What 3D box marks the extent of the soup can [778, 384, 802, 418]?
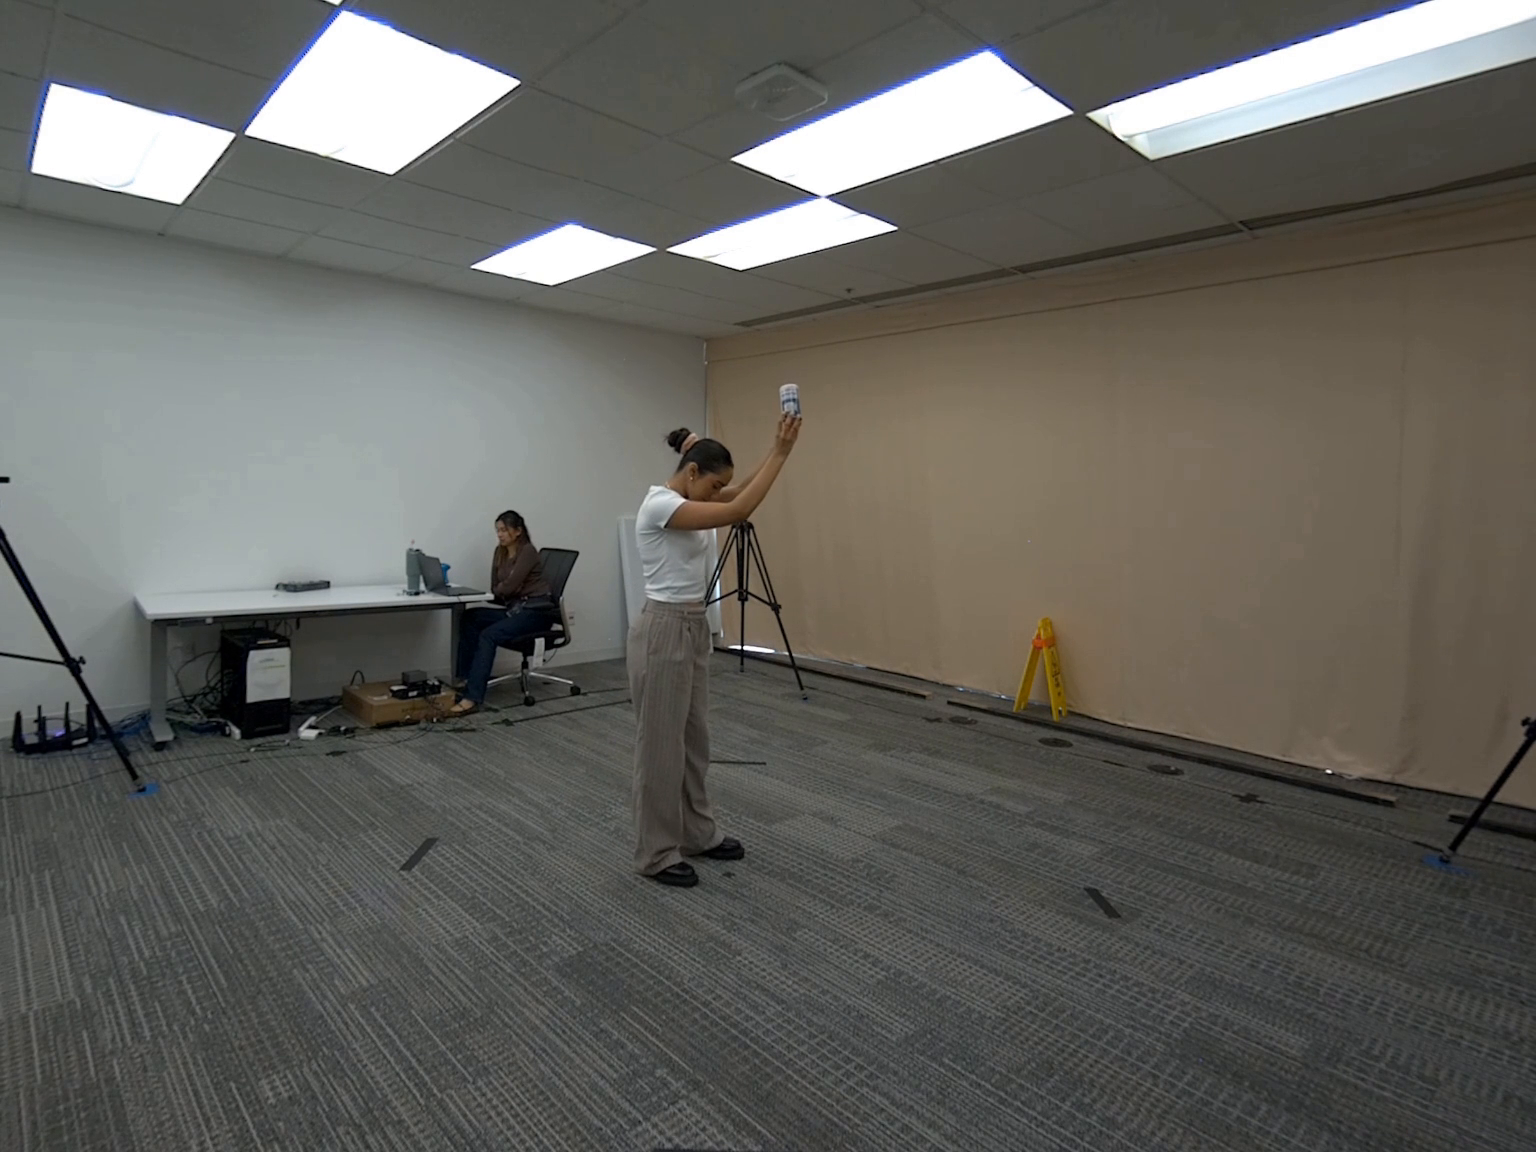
[{"bbox_3d":[0.072,-0.593,2.895,0.067,0.122,0.067,-3,-9,-2],"label":"soup can"}]
